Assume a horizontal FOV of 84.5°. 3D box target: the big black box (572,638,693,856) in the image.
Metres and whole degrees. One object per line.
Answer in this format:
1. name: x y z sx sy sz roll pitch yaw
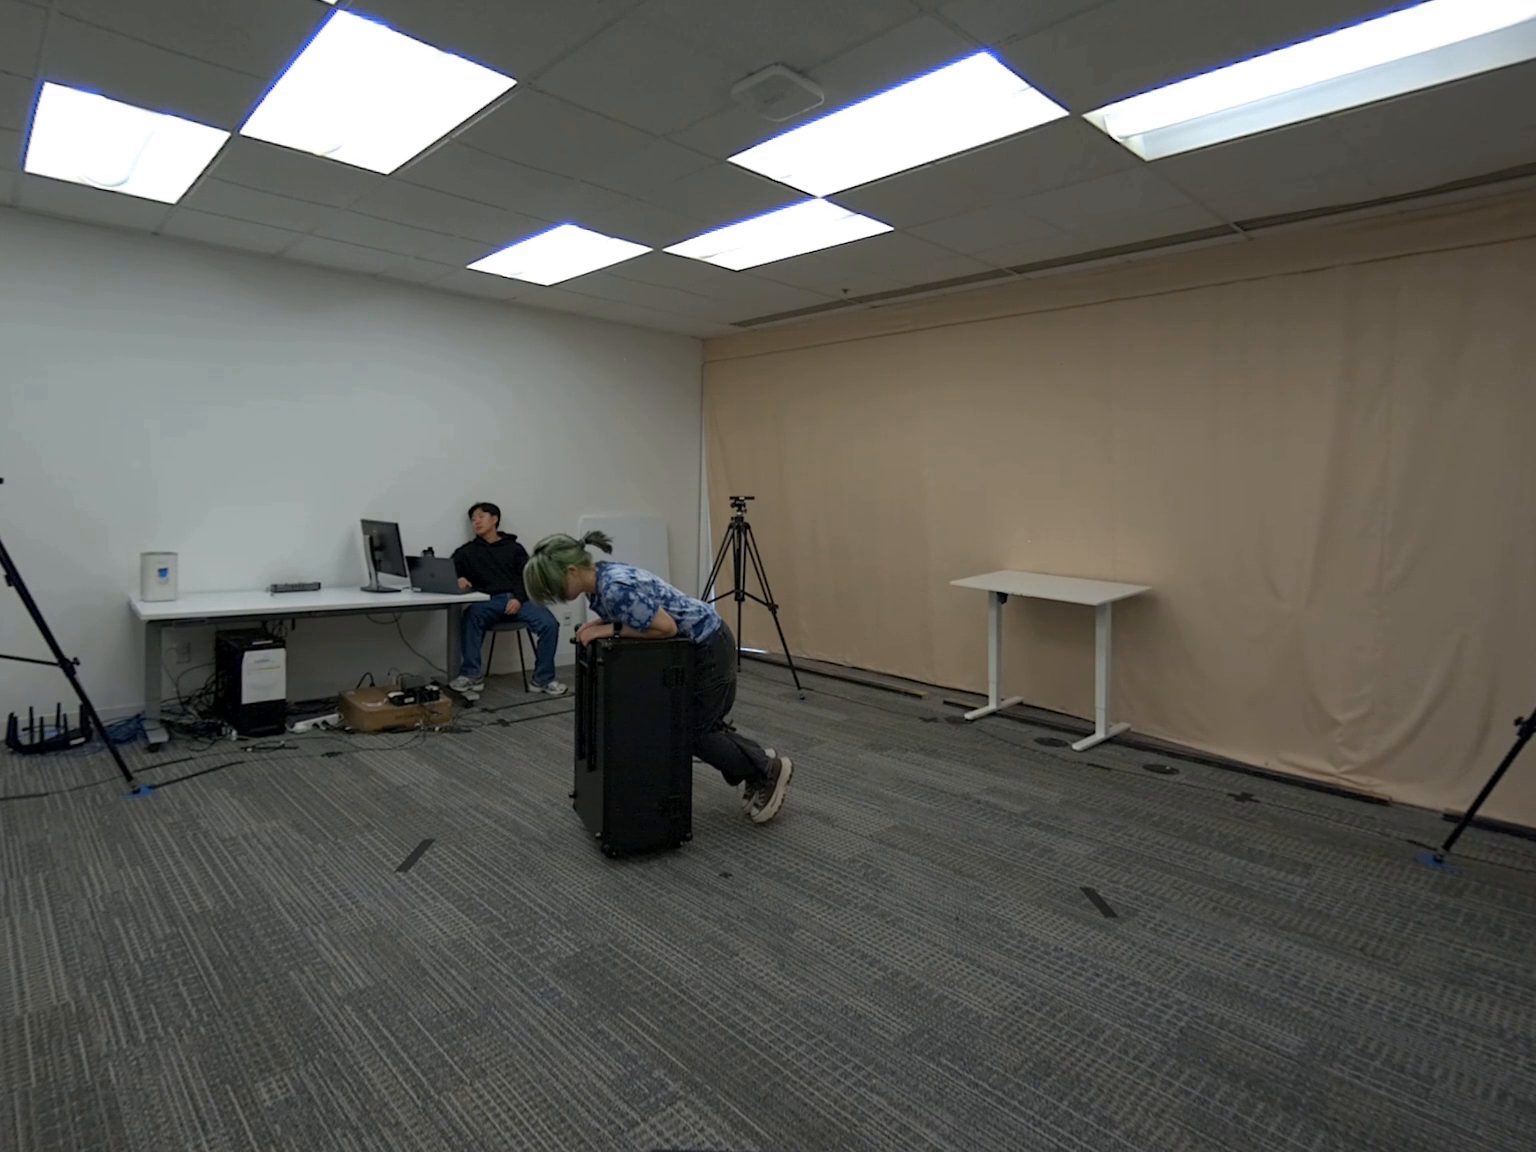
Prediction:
1. big black box: -0.568 0.596 3.363 0.389 0.860 0.532 -1 3 -25
